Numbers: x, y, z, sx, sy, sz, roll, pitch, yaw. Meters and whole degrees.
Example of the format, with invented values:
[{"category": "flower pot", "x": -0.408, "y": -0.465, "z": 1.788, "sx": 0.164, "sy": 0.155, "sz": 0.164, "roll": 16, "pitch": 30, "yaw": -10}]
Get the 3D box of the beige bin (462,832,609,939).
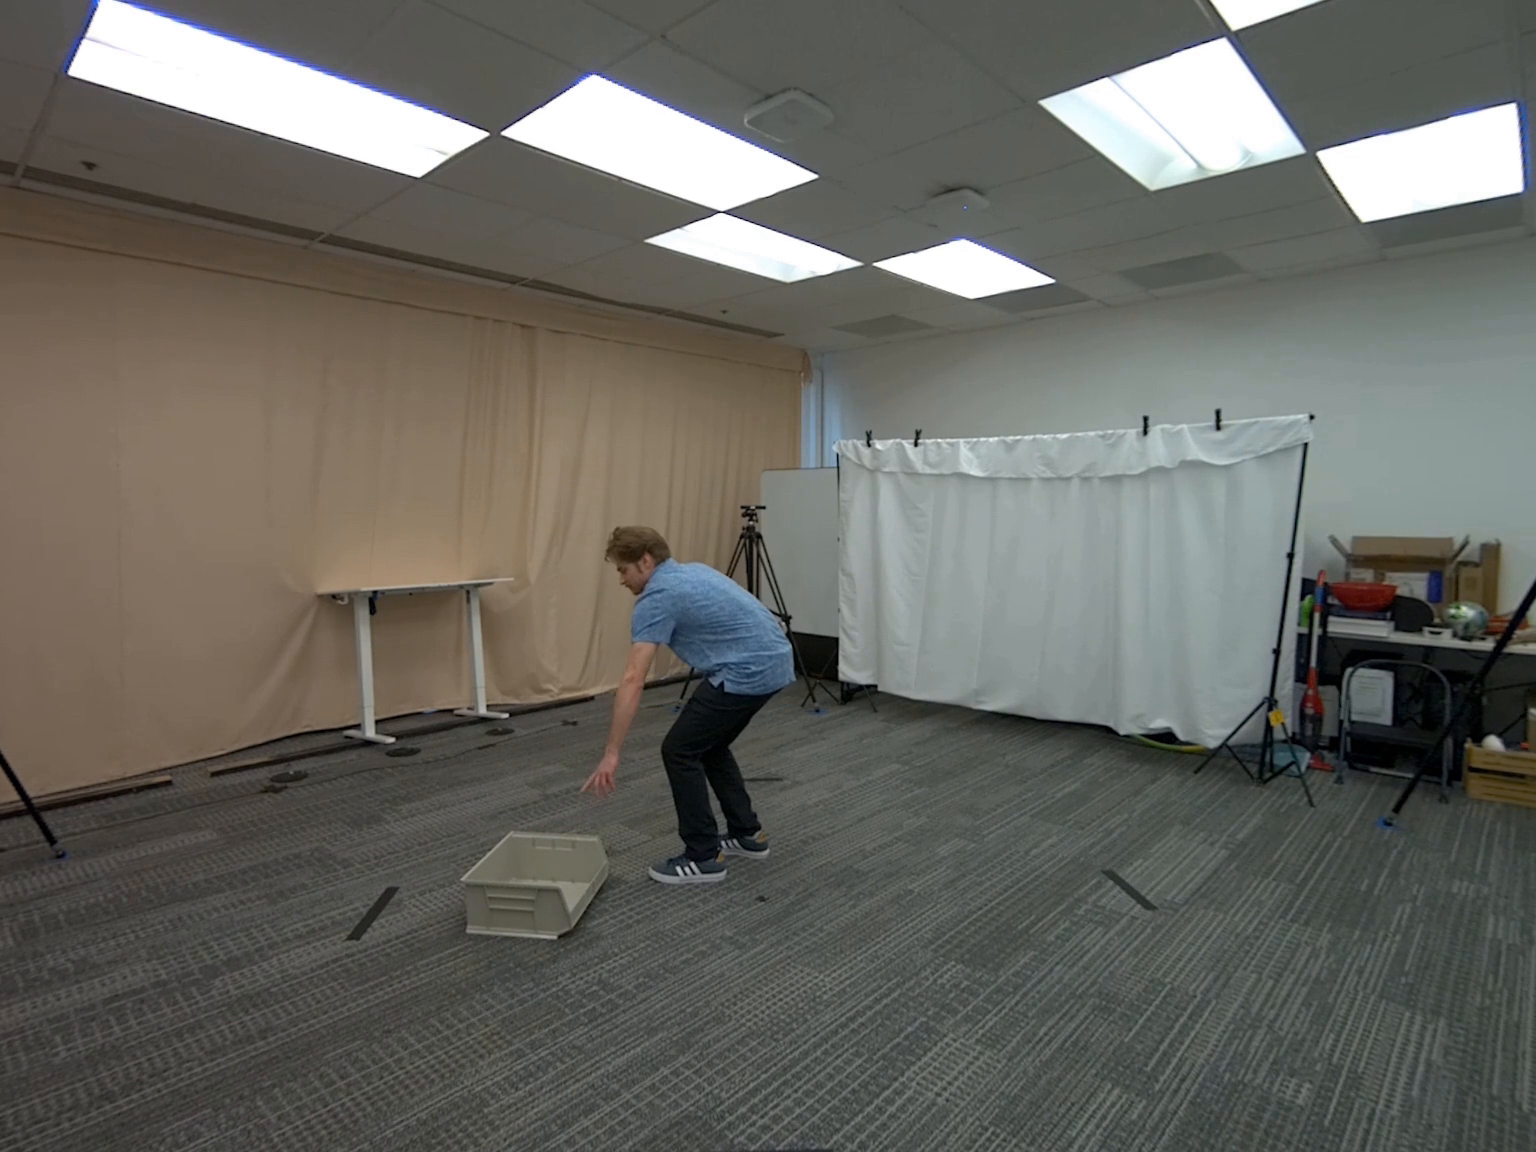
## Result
[{"category": "beige bin", "x": -0.798, "y": 1.067, "z": 2.929, "sx": 0.381, "sy": 0.188, "sz": 0.420, "roll": 0, "pitch": 5, "yaw": 7}]
